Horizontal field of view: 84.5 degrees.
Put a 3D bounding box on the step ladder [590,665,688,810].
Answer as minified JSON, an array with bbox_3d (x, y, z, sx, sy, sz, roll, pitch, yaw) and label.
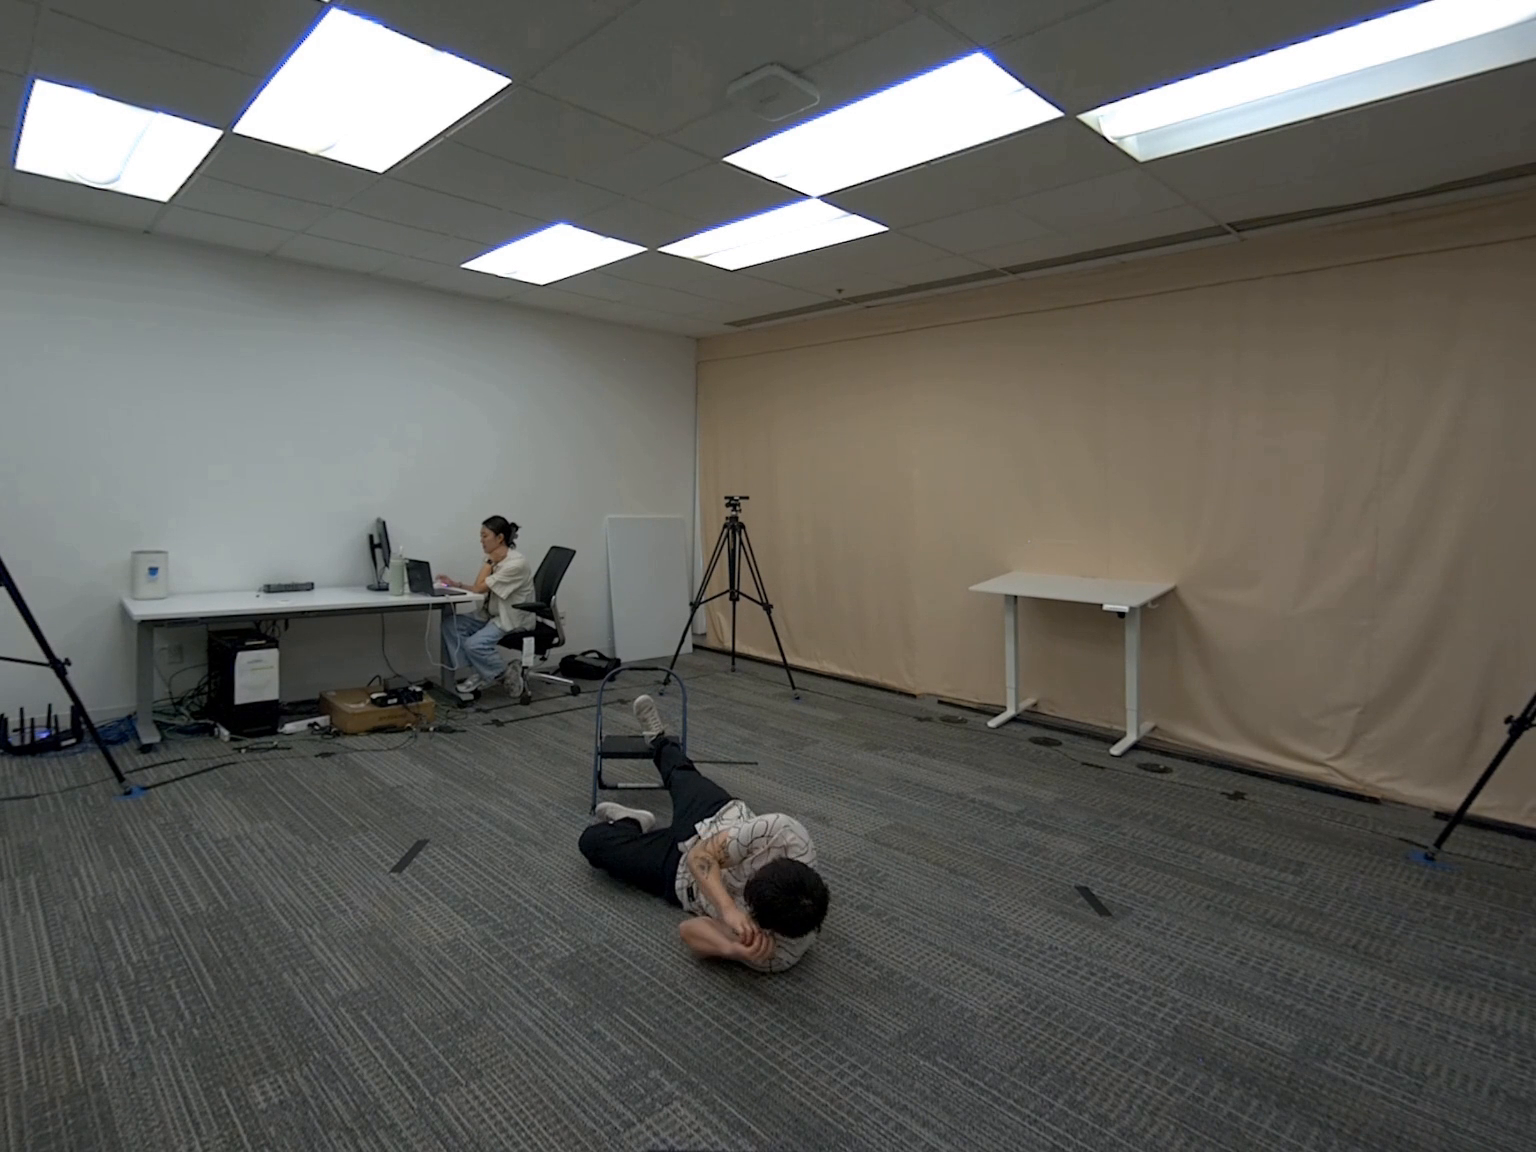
[{"bbox_3d":[-0.586,0.728,3.840,0.429,0.604,0.351,1,3,-6],"label":"step ladder"}]
